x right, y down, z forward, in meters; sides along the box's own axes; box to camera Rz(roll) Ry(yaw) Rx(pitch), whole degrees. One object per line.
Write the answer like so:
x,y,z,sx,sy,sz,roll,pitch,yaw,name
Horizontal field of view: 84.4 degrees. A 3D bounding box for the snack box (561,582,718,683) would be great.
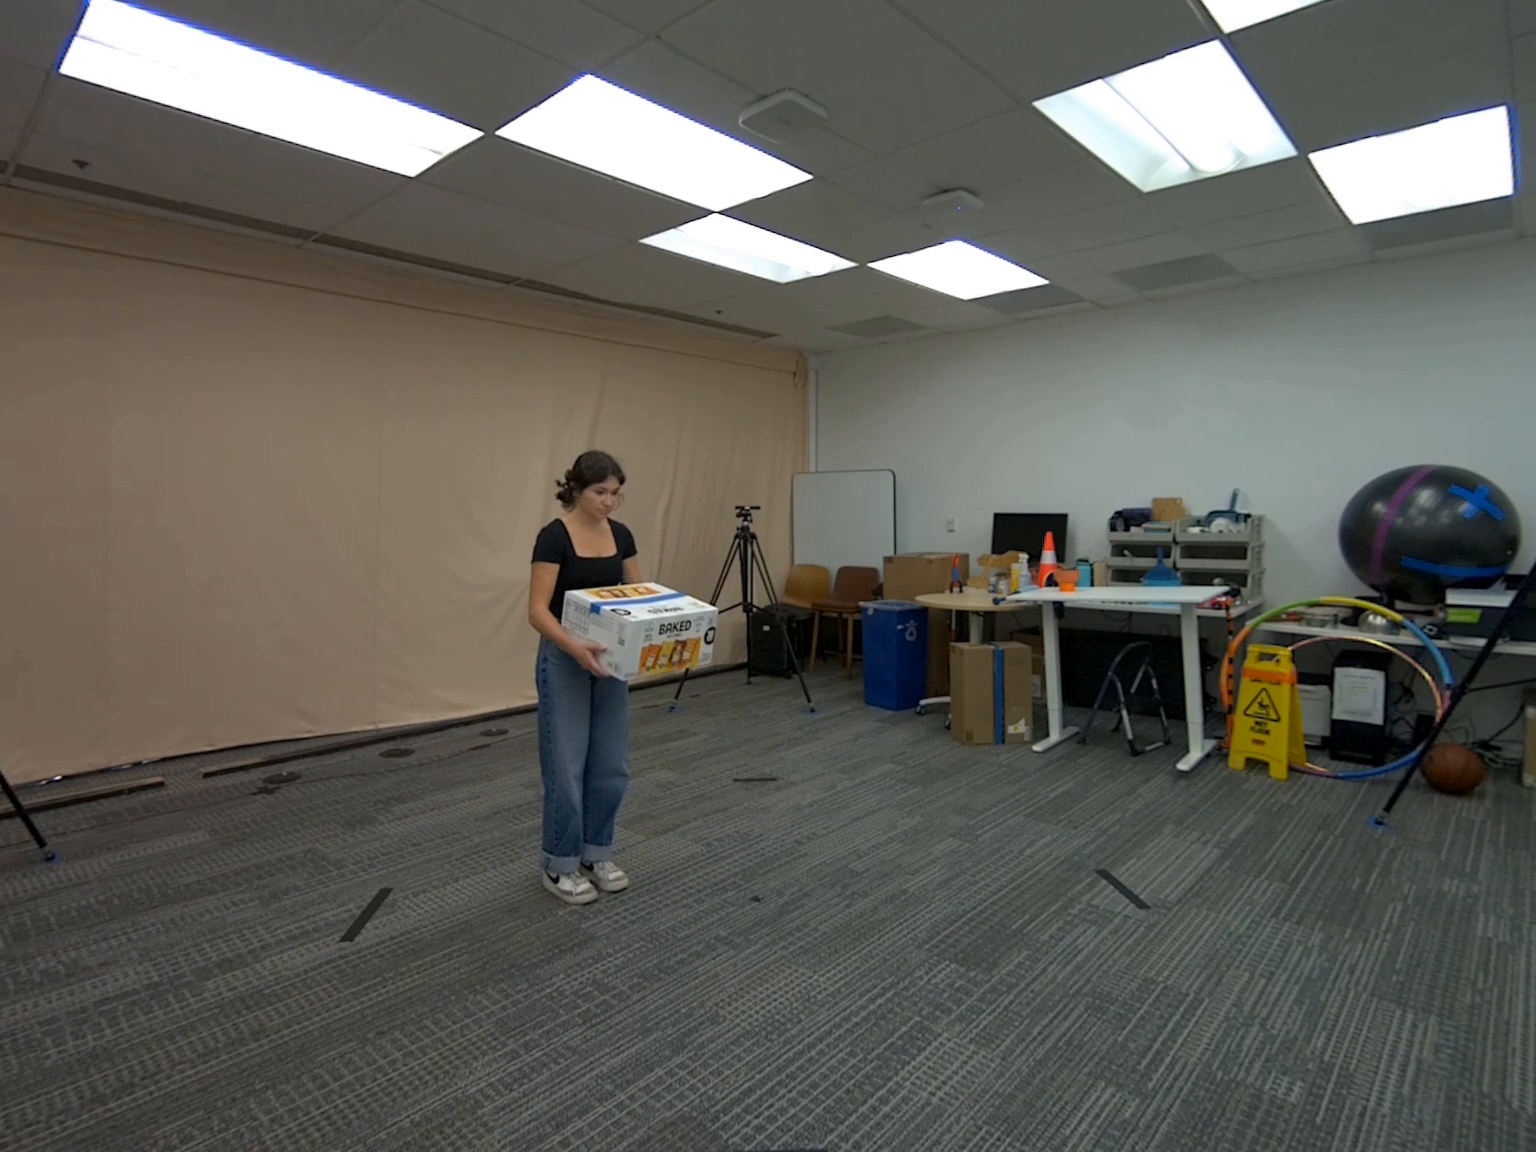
-0.439,0.182,2.866,0.353,0.204,0.393,19,16,39,snack box
